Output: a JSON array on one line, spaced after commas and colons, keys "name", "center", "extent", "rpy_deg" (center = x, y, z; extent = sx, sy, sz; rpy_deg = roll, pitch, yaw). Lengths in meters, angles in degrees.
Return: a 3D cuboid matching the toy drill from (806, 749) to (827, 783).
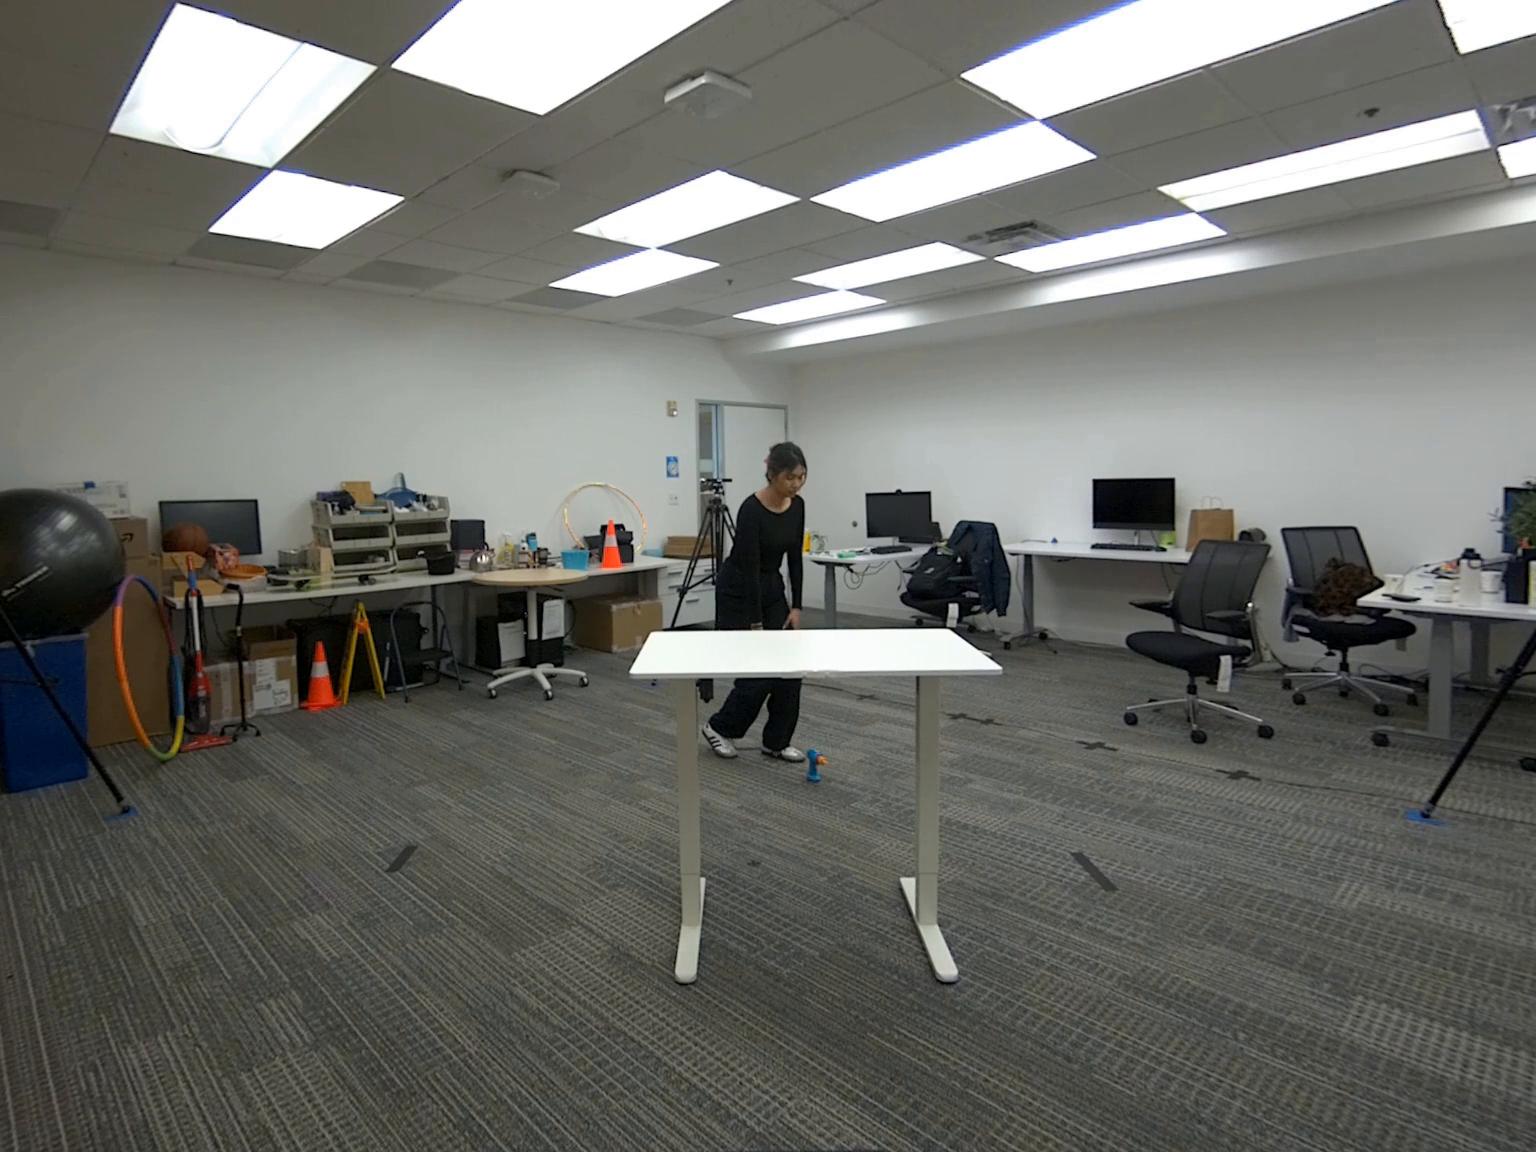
[{"name": "toy drill", "center": [0.229, 0.880, 3.930], "extent": [0.060, 0.145, 0.174], "rpy_deg": [-1, 5, -27]}]
